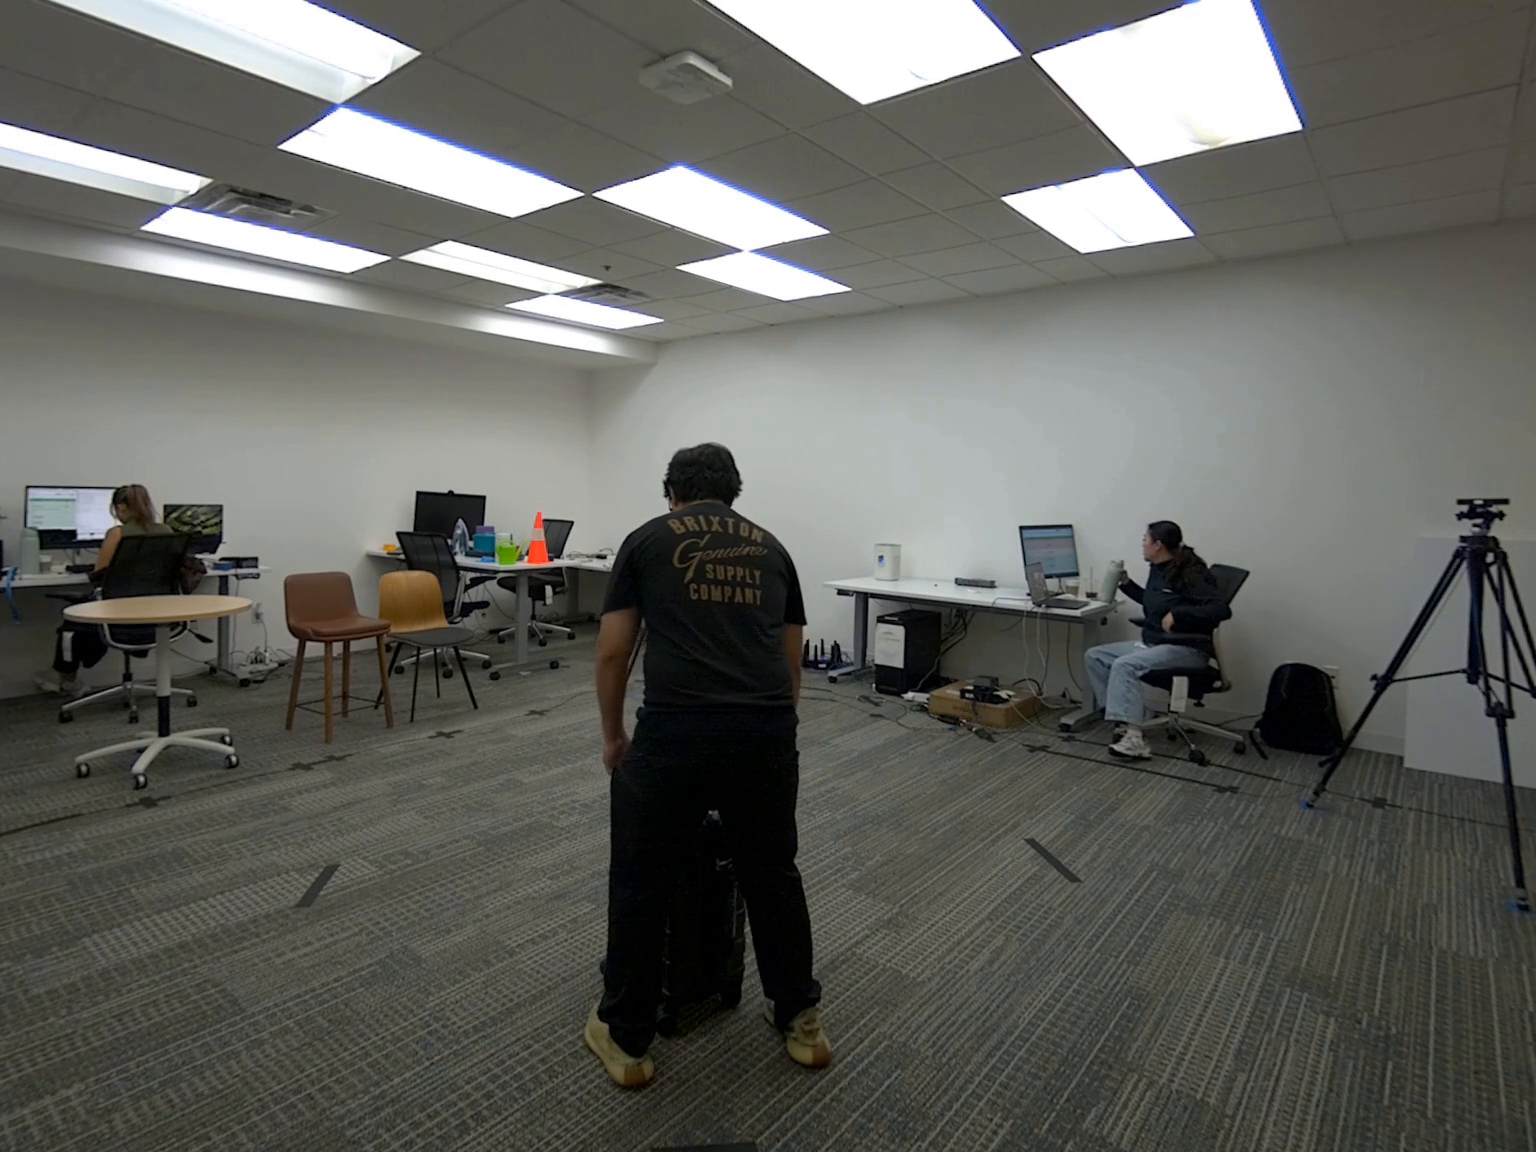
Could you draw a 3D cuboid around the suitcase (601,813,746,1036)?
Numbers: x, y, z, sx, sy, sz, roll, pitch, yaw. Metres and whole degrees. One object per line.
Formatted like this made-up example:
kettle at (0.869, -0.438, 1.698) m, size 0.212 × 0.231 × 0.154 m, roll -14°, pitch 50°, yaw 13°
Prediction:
suitcase at (-0.254, 0.867, 2.340) m, size 0.241 × 0.548 × 0.388 m, roll 0°, pitch 5°, yaw -39°
